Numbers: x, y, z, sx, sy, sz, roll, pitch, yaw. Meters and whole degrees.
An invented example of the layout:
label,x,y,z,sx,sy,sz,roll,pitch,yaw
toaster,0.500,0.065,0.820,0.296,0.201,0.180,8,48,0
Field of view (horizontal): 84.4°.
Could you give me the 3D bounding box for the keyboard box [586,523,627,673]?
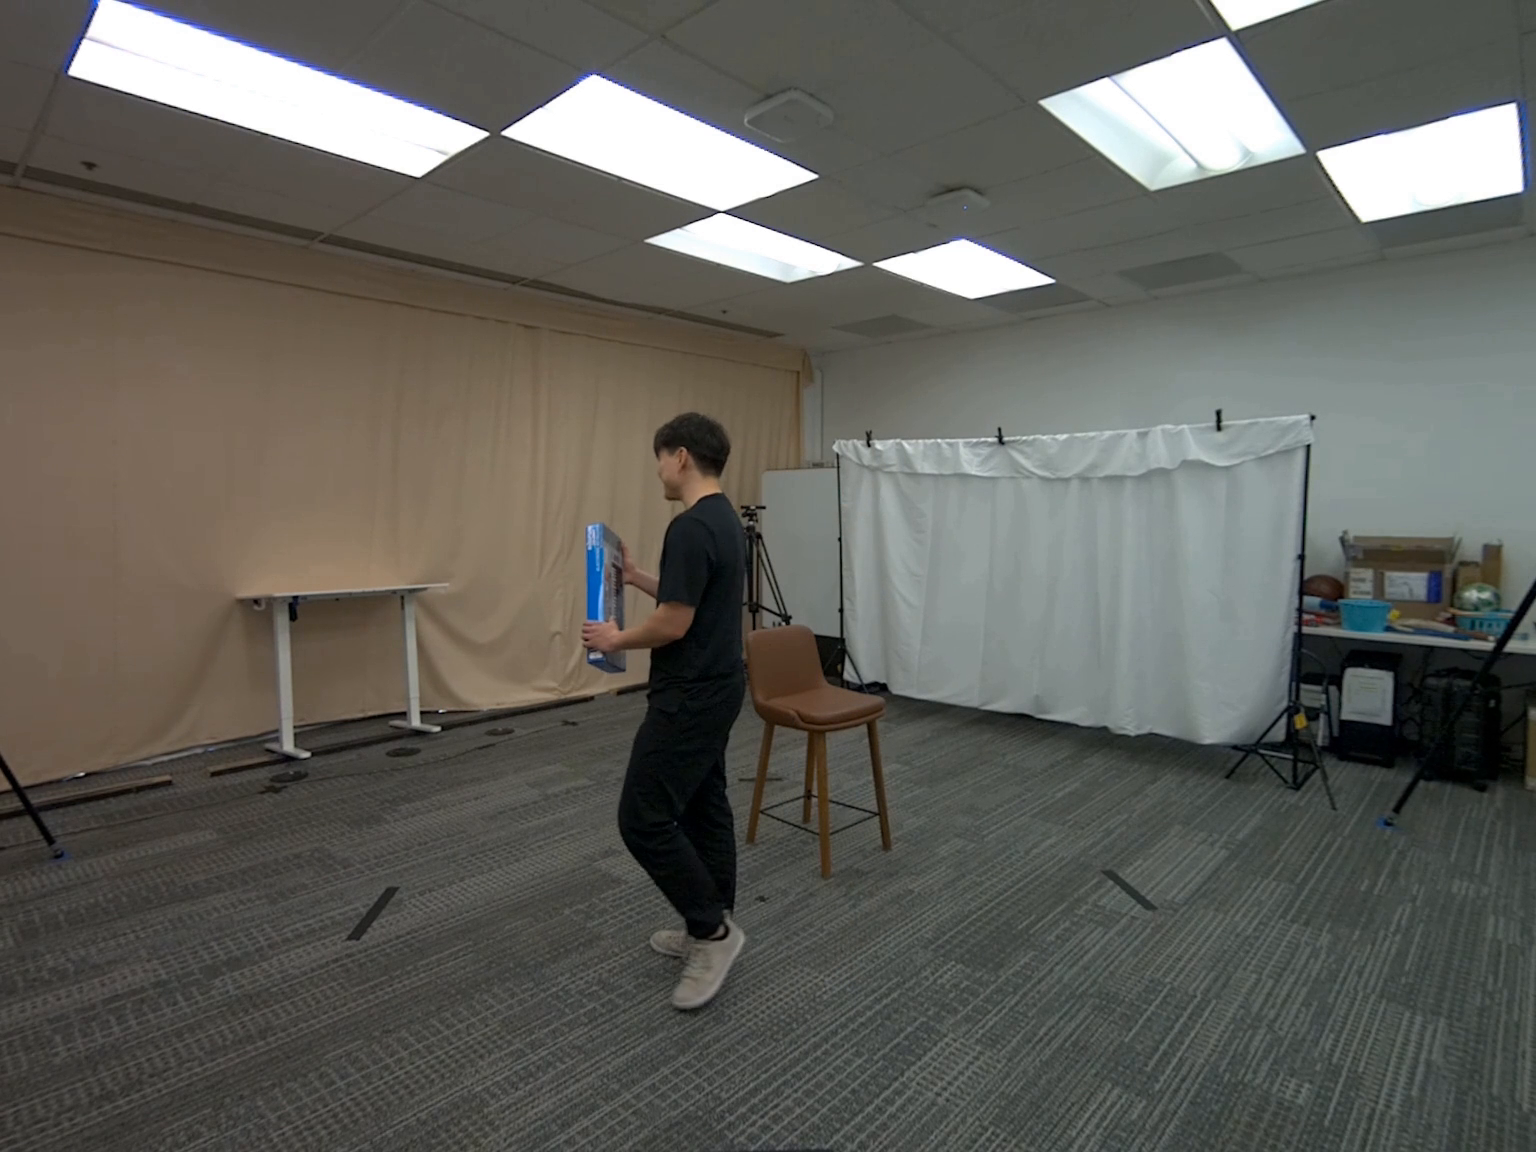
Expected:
label,x,y,z,sx,sy,sz,roll,pitch,yaw
keyboard box,-0.502,0.073,2.624,0.060,0.443,0.171,-8,-21,10
